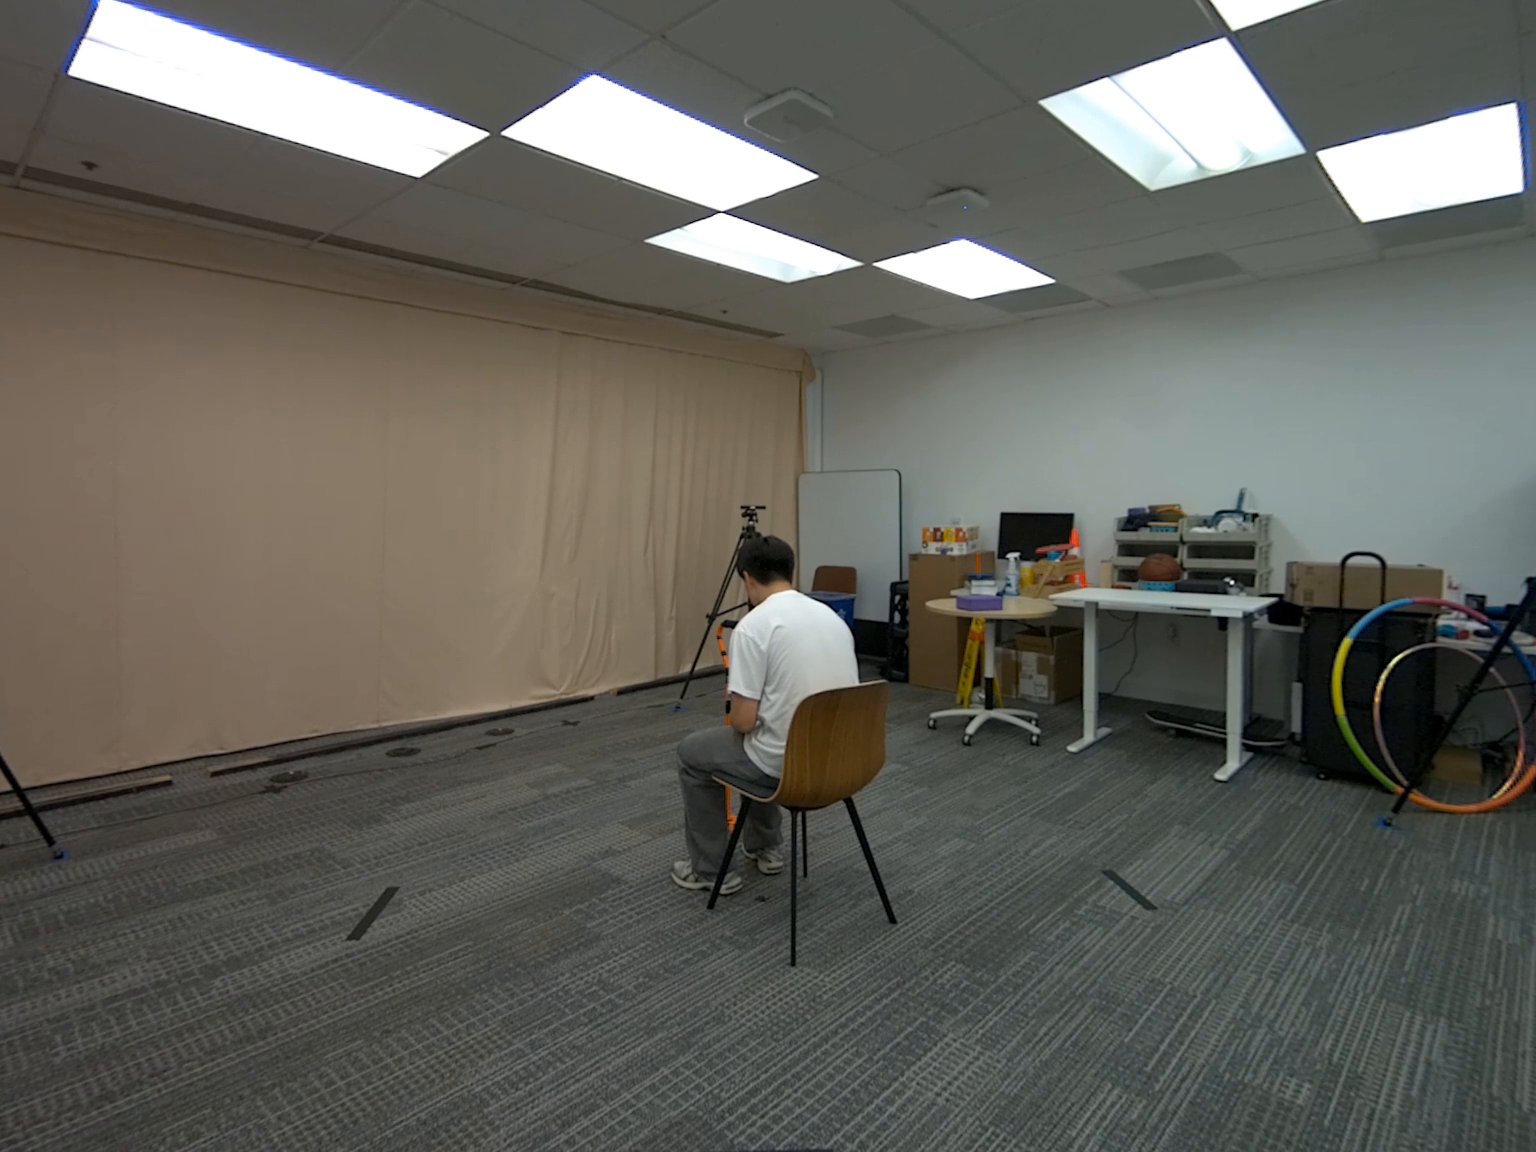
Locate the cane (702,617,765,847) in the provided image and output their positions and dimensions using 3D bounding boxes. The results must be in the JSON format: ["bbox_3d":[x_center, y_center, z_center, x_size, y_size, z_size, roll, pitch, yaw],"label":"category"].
[{"bbox_3d":[-0.149,0.640,3.572,0.147,0.907,0.213,-3,3,-41],"label":"cane"}]
